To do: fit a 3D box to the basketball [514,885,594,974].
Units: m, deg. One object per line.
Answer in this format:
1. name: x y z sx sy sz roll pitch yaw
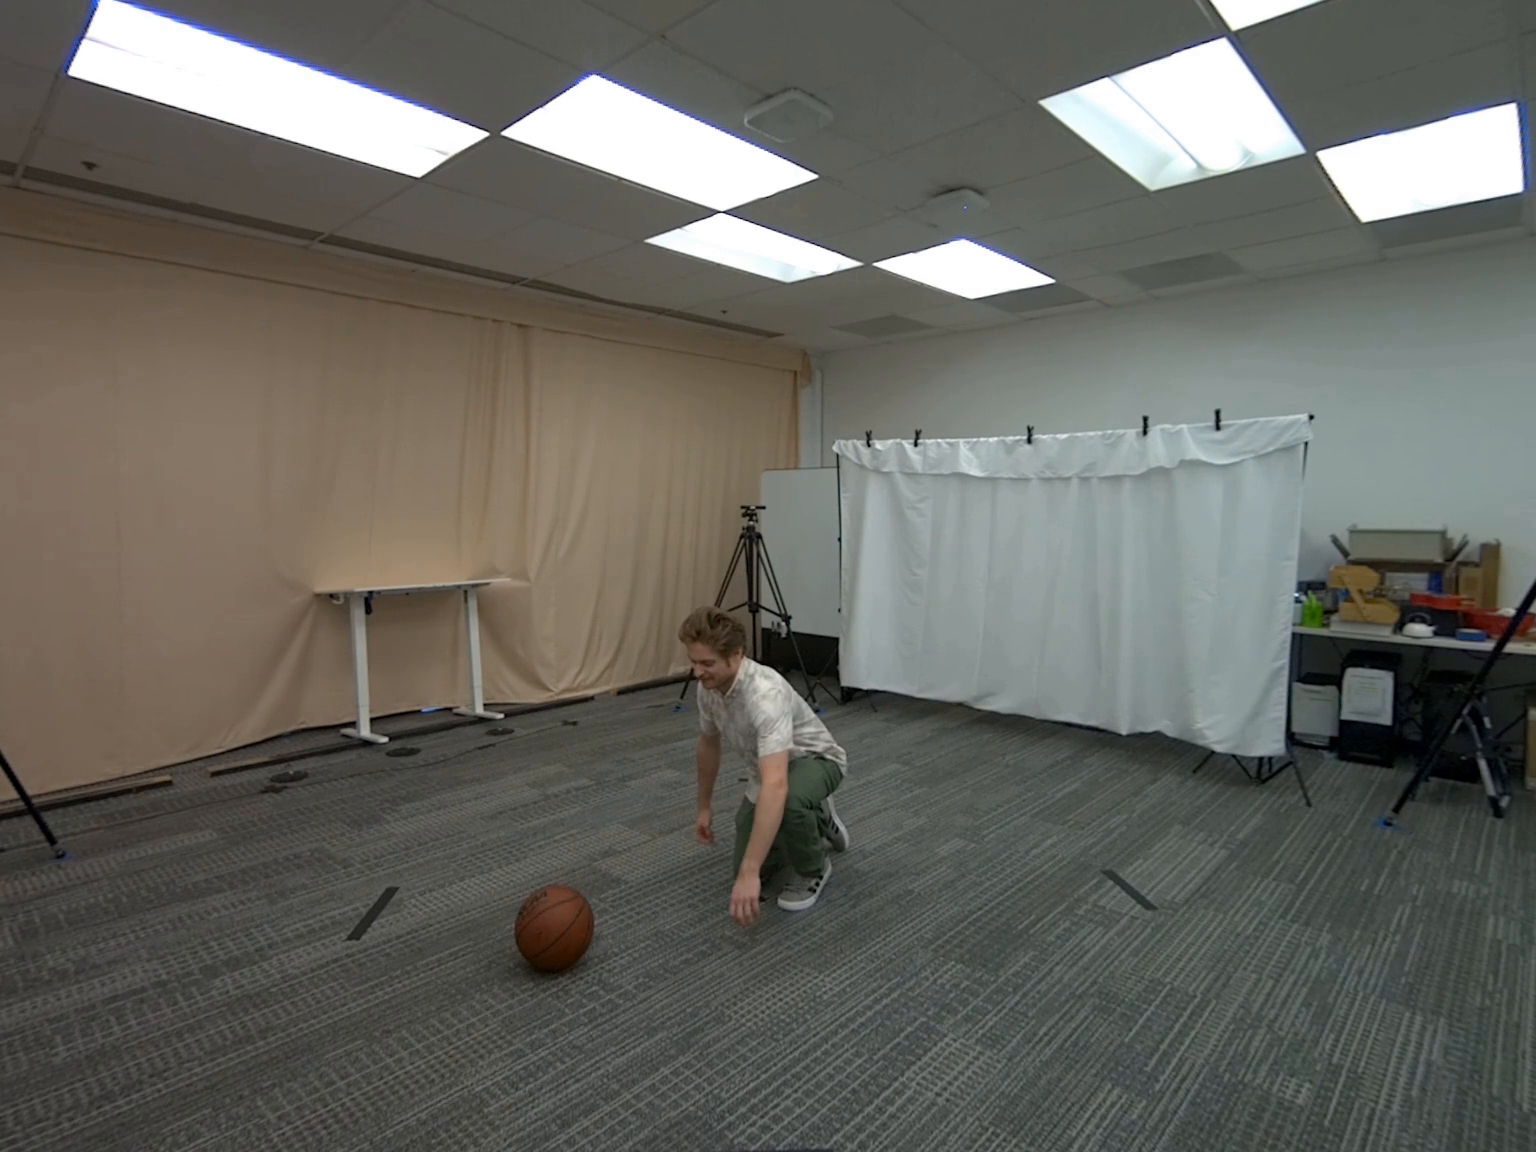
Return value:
1. basketball: -0.654 1.065 2.552 0.236 0.235 0.237 0 4 -2
